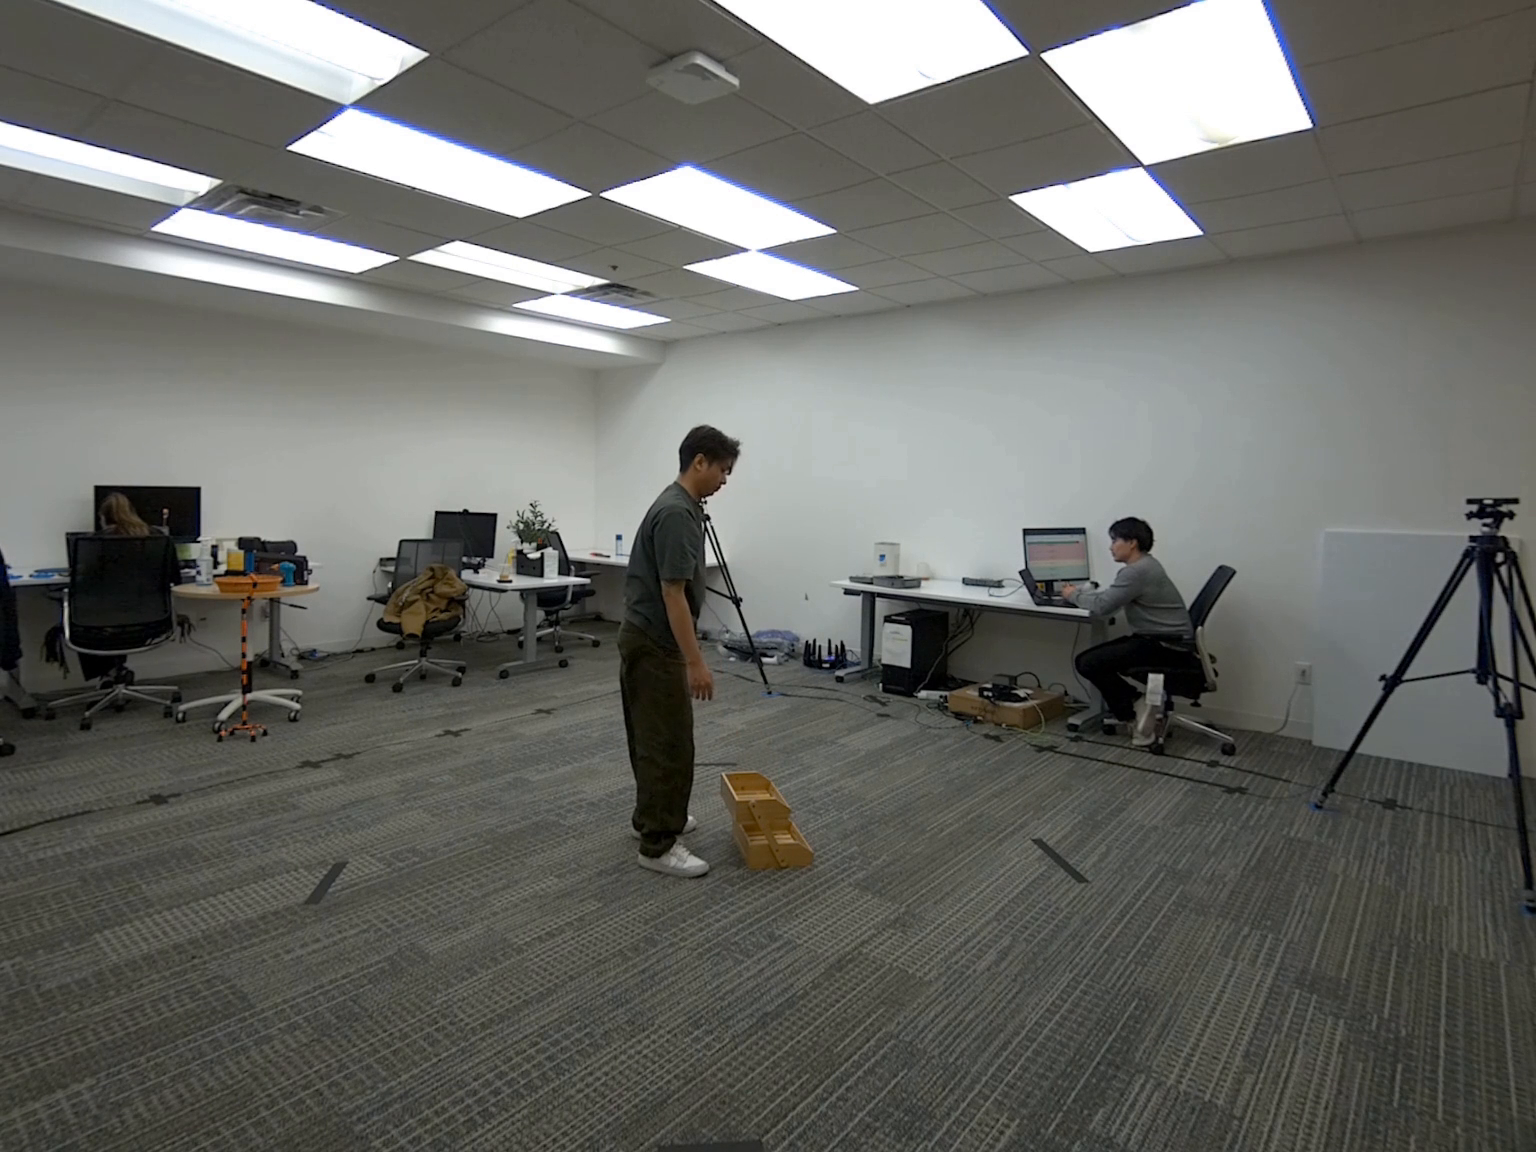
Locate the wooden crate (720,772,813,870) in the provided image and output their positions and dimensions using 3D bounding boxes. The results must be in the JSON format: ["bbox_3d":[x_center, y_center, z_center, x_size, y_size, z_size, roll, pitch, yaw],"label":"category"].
[{"bbox_3d":[-0.009,0.925,3.261,0.298,0.272,0.330,0,5,-12],"label":"wooden crate"}]
